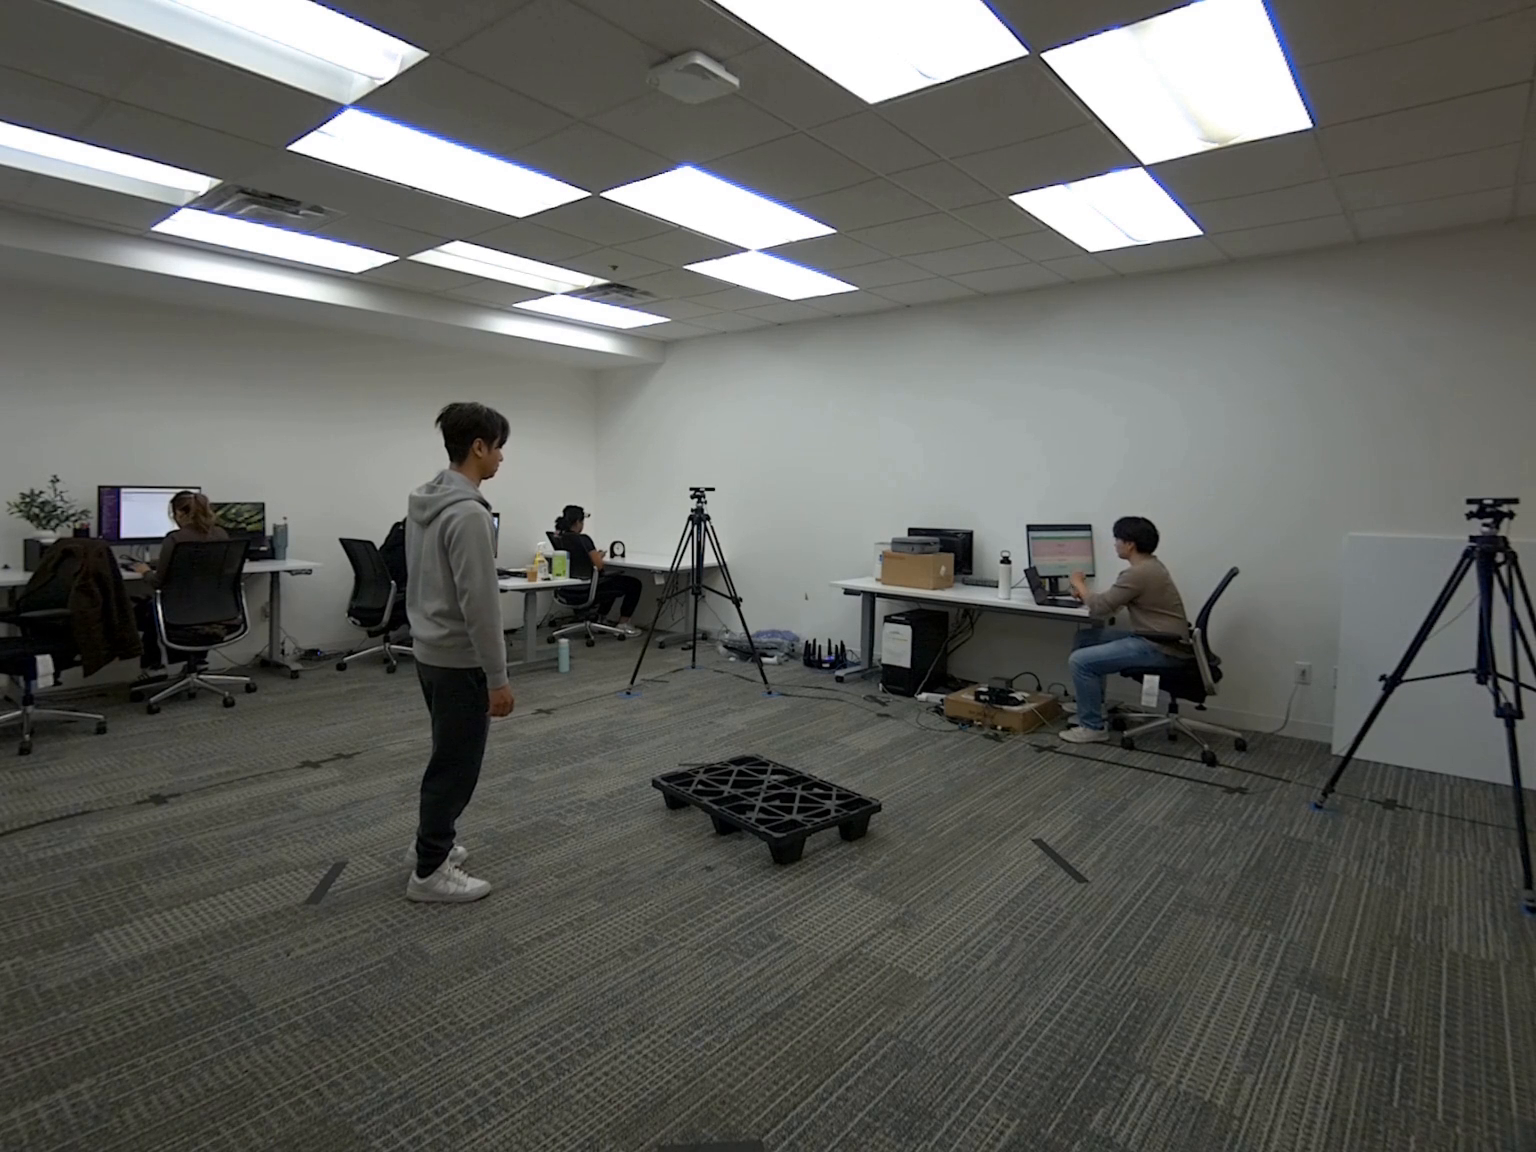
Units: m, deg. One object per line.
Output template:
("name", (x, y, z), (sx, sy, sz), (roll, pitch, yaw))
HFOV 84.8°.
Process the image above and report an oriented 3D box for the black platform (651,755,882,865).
("black platform", (-0.030, 0.961, 3.568), (0.587, 0.143, 0.833), (-4, 8, -41))
